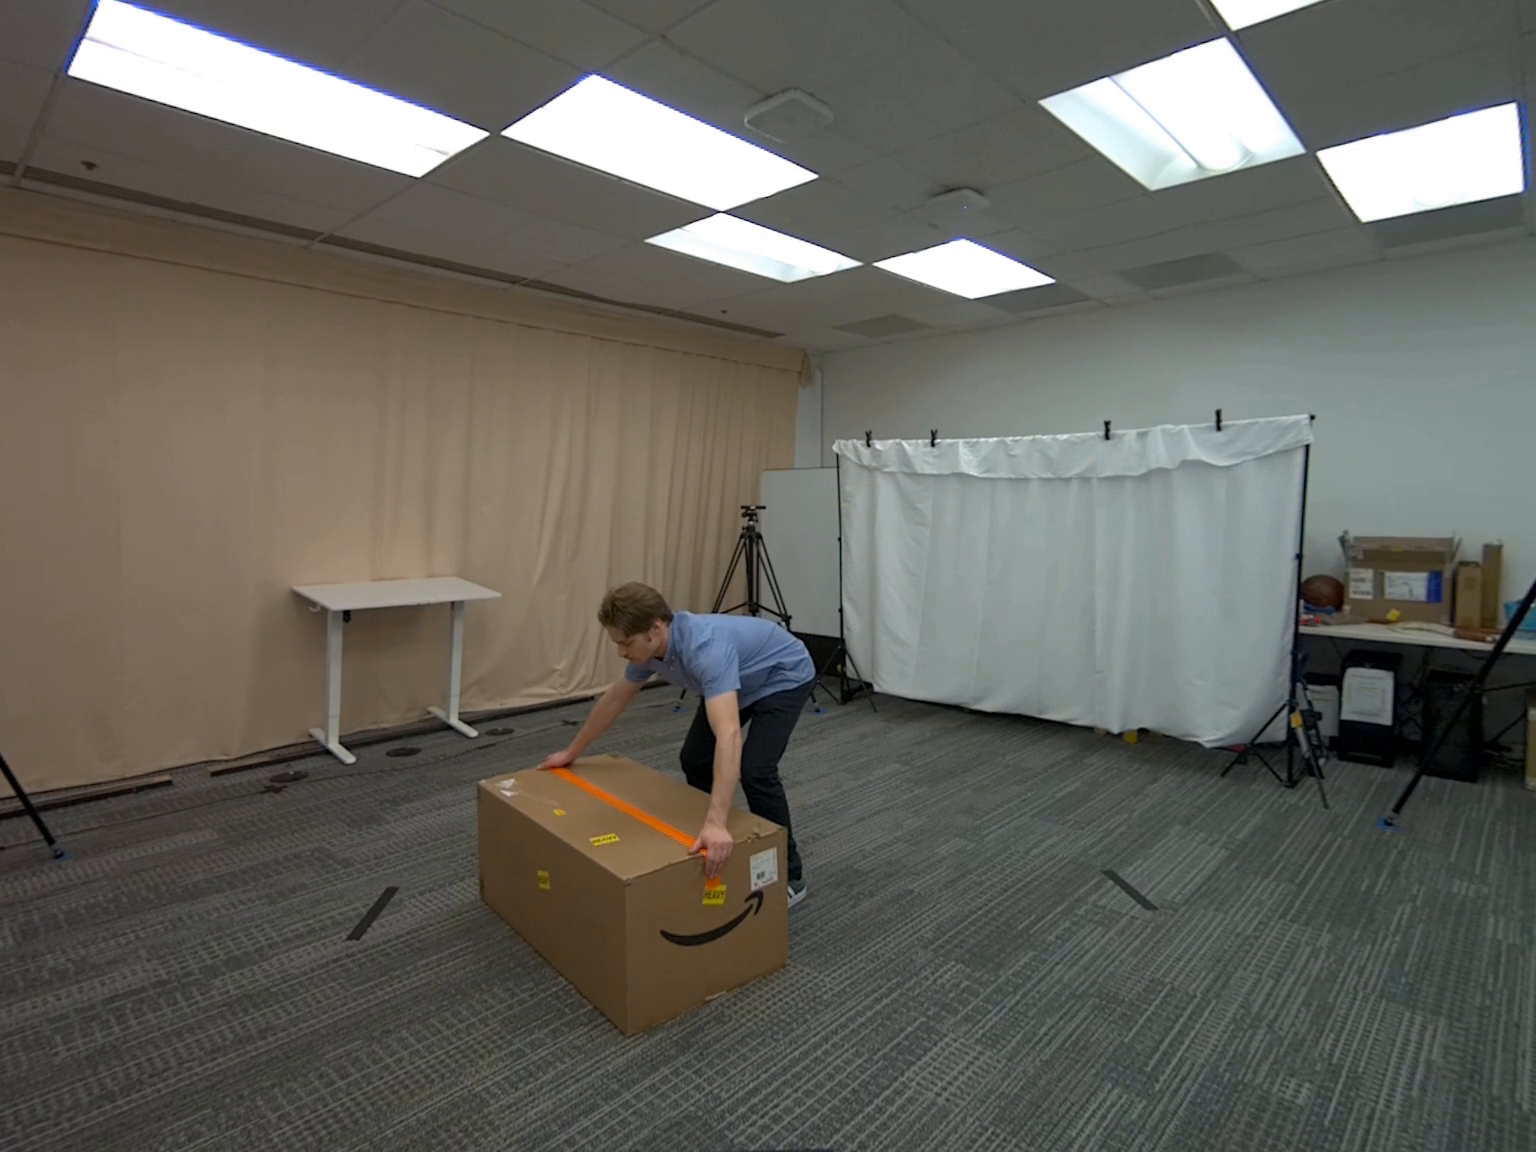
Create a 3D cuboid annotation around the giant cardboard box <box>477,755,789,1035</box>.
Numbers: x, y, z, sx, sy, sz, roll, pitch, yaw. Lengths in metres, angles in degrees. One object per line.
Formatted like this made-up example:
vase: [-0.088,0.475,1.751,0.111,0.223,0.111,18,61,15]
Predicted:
giant cardboard box: [-0.487,0.952,2.766,0.566,0.446,1.060,-2,4,-39]
